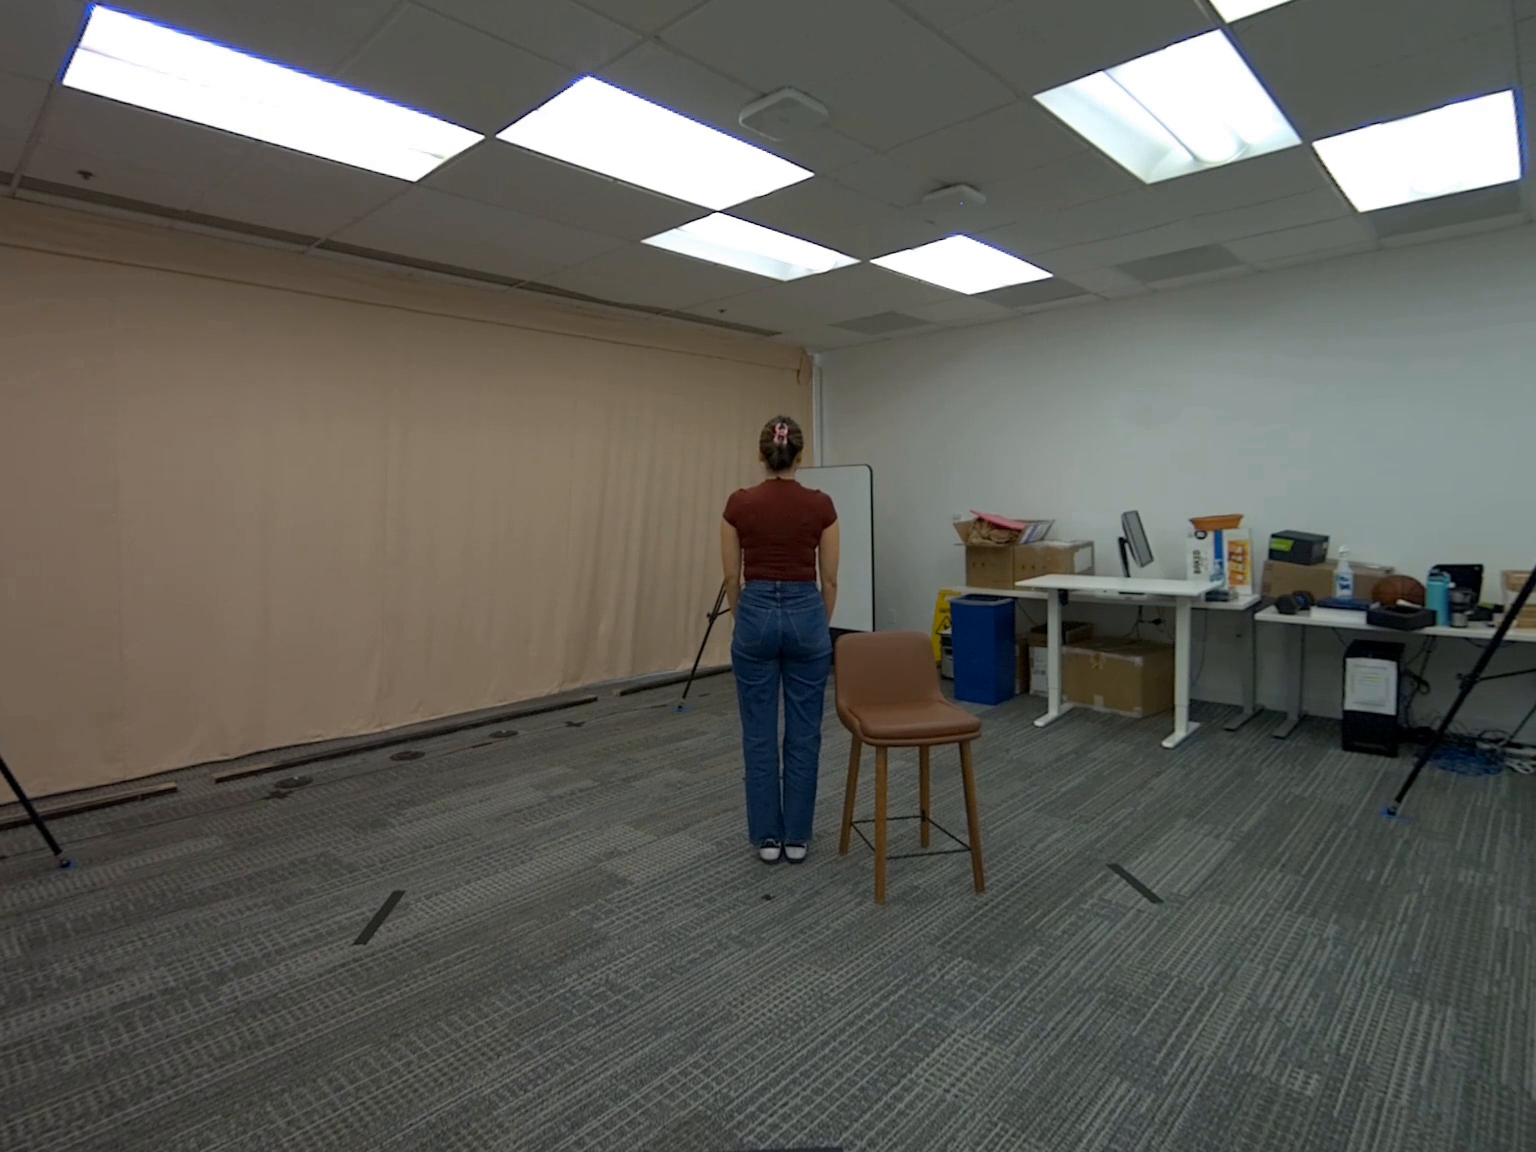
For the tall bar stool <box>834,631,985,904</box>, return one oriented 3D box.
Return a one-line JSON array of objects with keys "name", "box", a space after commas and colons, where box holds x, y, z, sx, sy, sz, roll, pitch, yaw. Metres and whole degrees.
[{"name": "tall bar stool", "box": [0.519, 0.680, 3.158, 0.451, 0.889, 0.474, -1, 1, -13]}]
